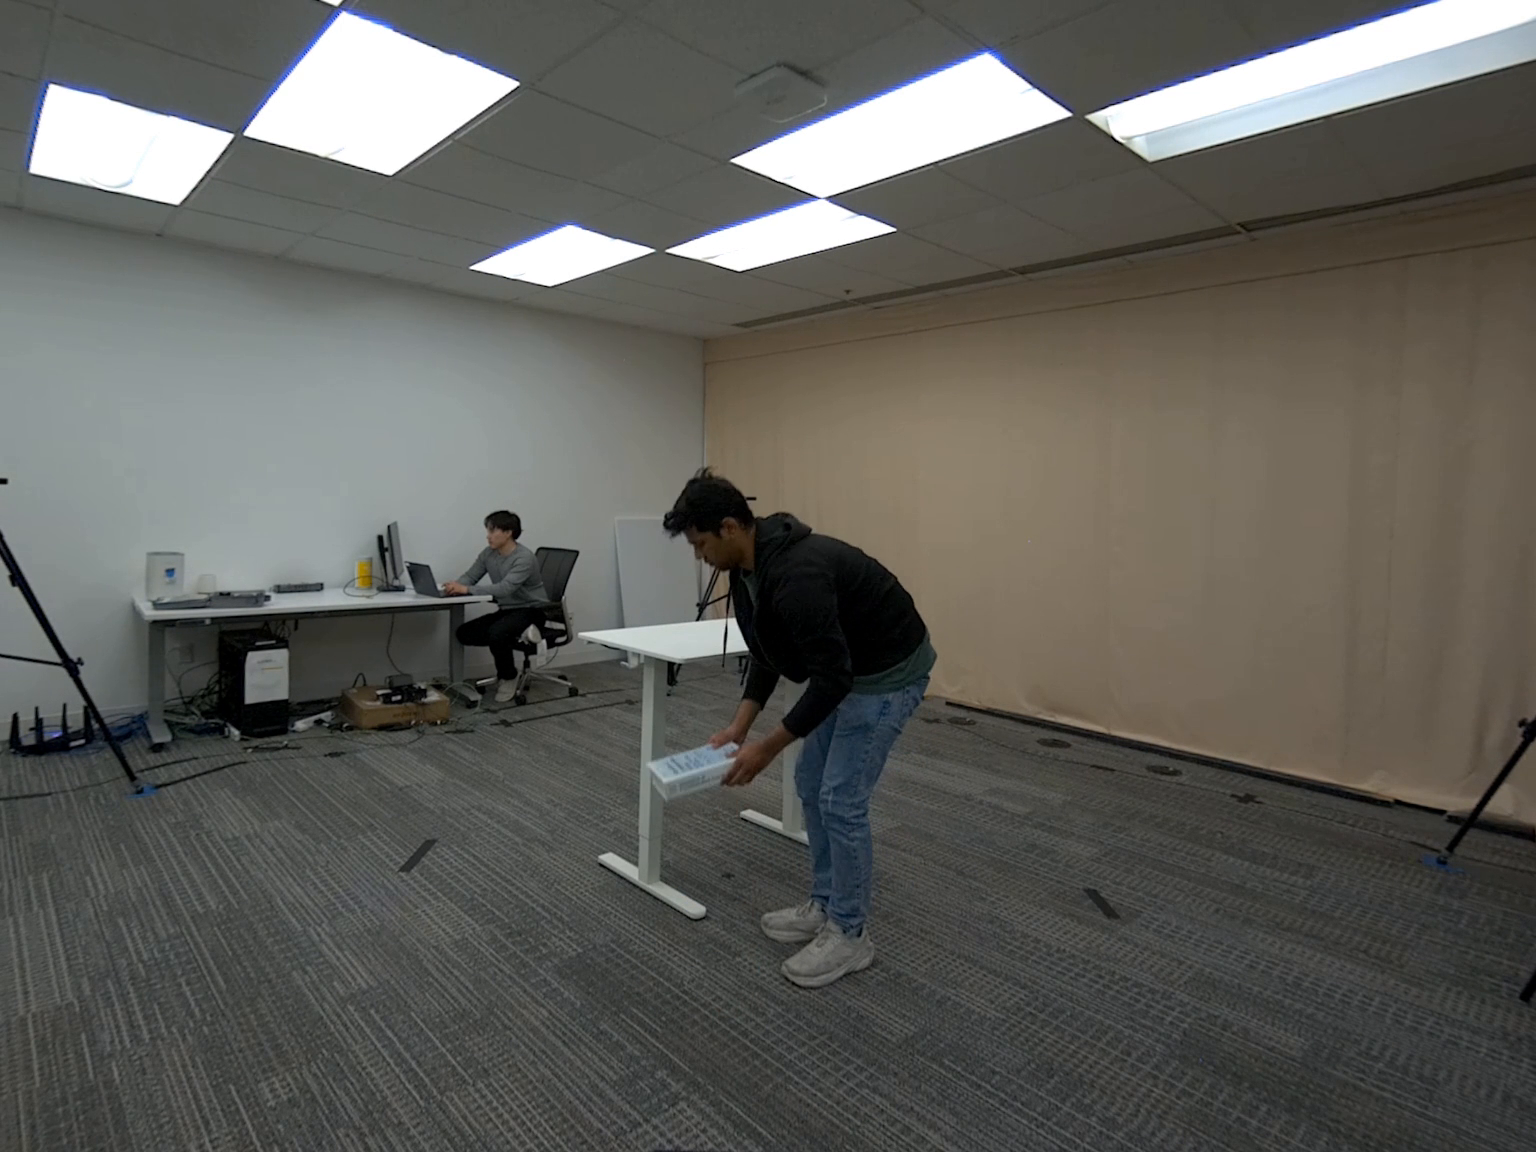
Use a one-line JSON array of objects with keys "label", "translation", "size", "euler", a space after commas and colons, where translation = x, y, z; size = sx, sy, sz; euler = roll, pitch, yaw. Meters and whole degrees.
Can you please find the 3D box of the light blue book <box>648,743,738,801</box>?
[{"label": "light blue book", "translation": [-0.205, 0.559, 2.407], "size": [0.259, 0.059, 0.194], "euler": [-10, 8, -13]}]
